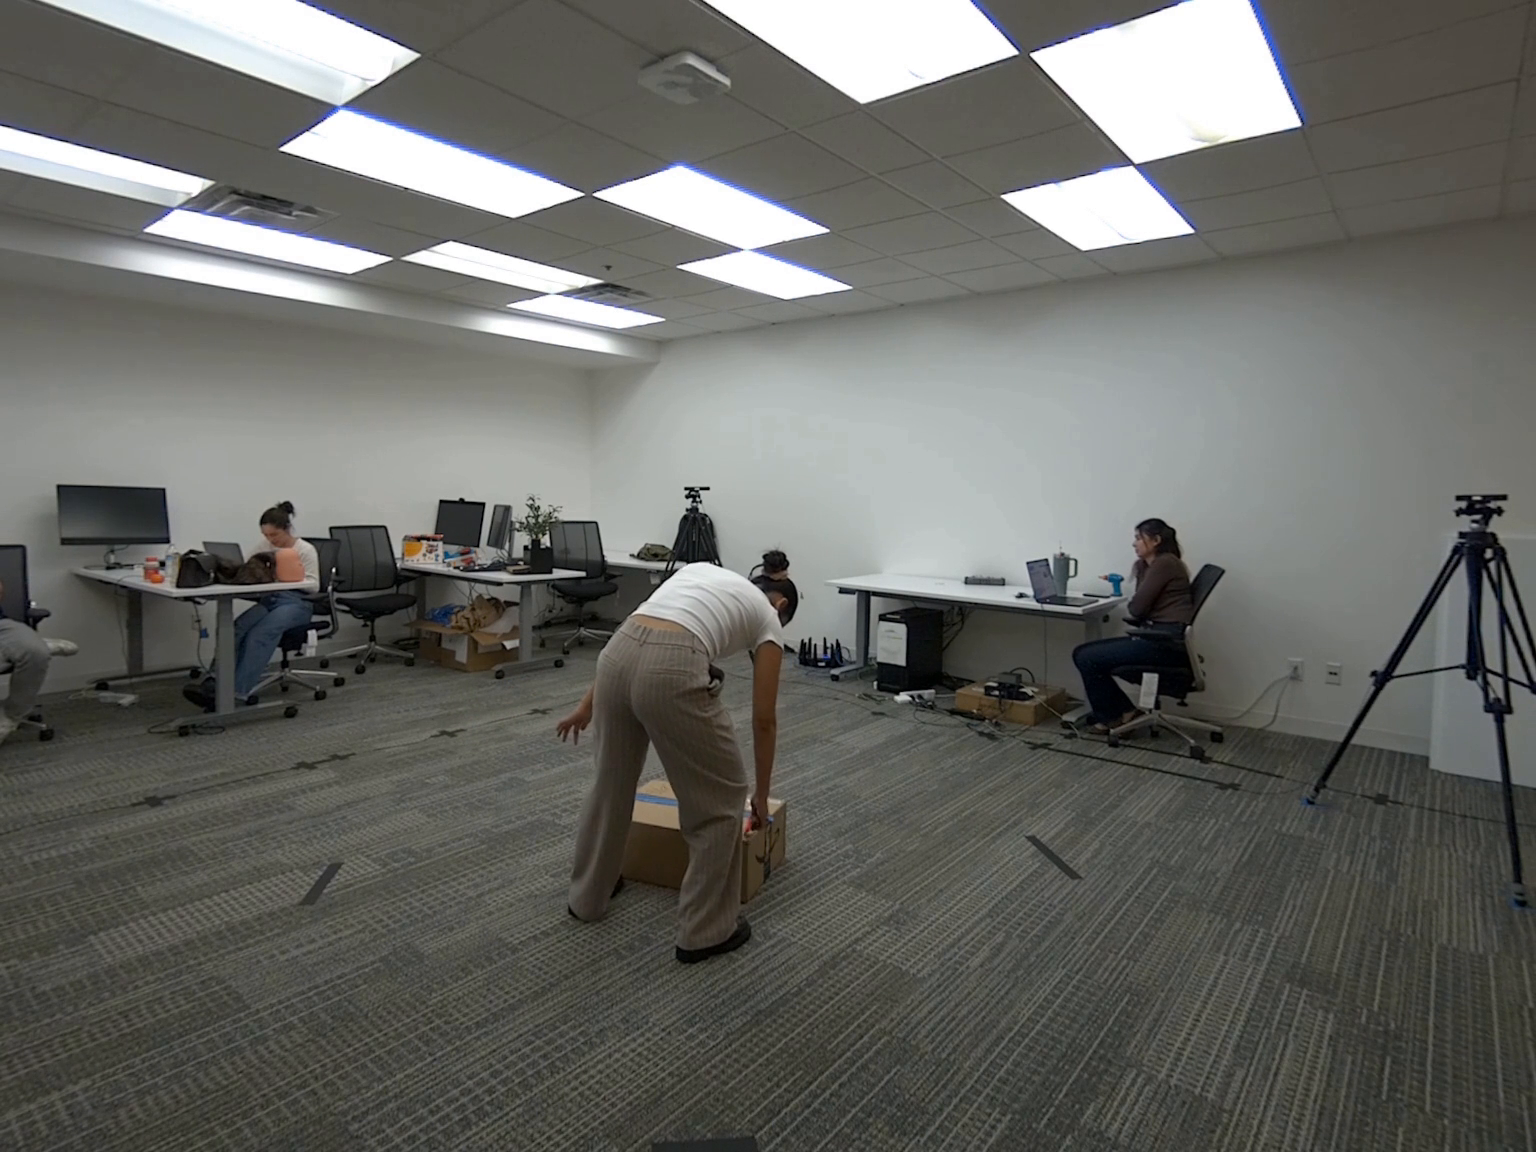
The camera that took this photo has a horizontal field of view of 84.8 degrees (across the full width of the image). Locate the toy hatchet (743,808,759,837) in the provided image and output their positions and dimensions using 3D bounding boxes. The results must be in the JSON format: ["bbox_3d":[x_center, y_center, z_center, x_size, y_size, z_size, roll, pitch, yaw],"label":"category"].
[{"bbox_3d":[-0.067,0.822,2.791,0.030,0.131,0.269,36,5,1],"label":"toy hatchet"}]
